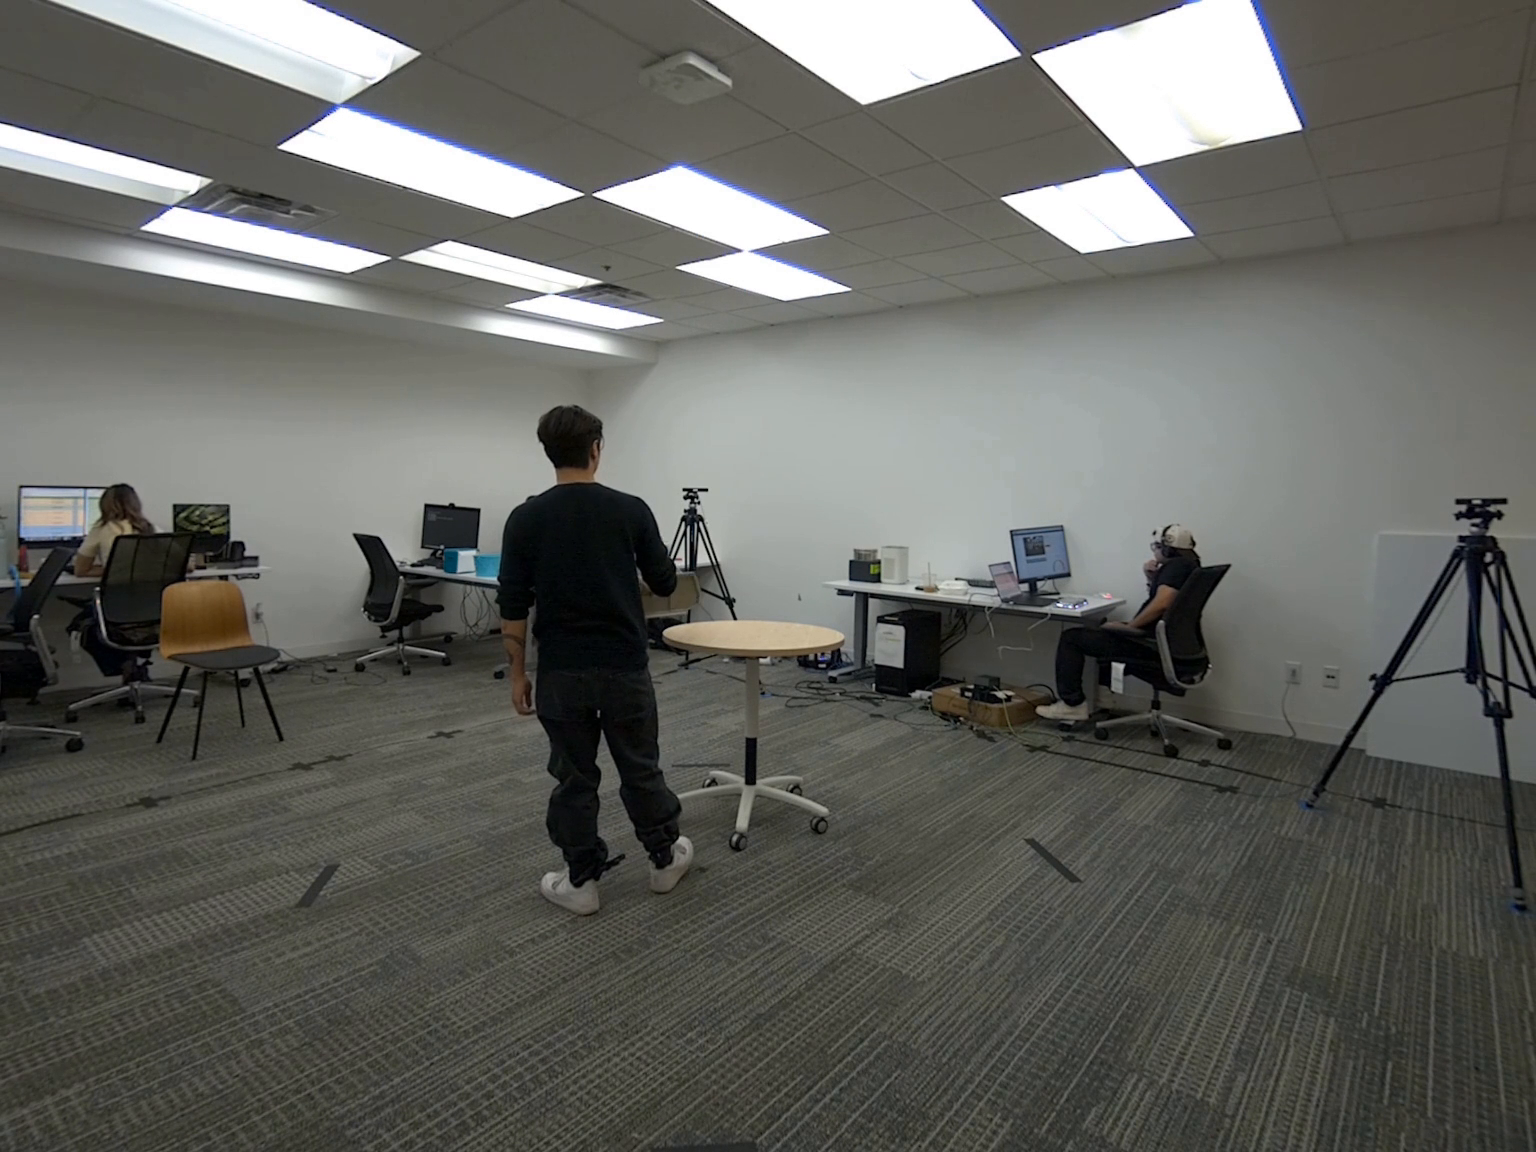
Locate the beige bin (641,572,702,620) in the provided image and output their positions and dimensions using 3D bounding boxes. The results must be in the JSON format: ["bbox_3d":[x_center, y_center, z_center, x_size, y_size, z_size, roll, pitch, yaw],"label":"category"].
[{"bbox_3d":[-0.522,0.009,3.437,0.369,0.186,0.438,-5,22,-23],"label":"beige bin"}]
